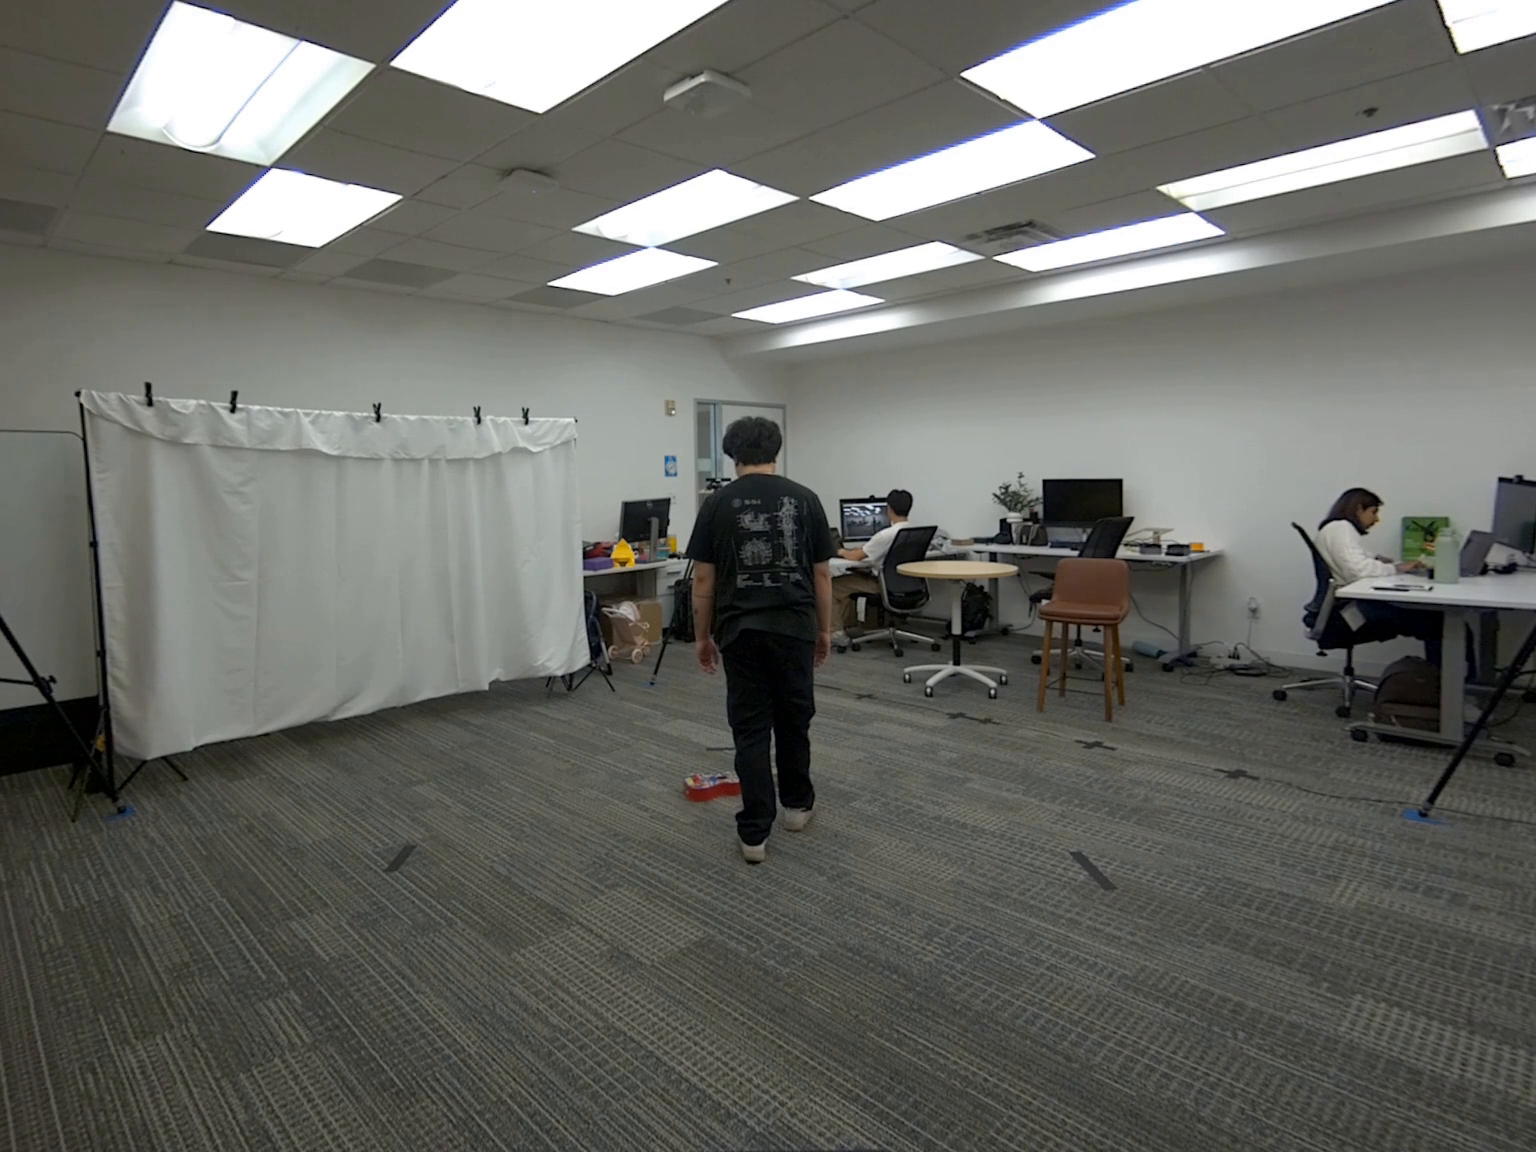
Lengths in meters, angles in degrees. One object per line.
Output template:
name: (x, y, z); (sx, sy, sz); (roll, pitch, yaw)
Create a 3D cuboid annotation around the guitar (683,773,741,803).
guitar: (-0.130, 0.927, 3.824); (0.494, 0.070, 0.195); (-3, 5, -7)
